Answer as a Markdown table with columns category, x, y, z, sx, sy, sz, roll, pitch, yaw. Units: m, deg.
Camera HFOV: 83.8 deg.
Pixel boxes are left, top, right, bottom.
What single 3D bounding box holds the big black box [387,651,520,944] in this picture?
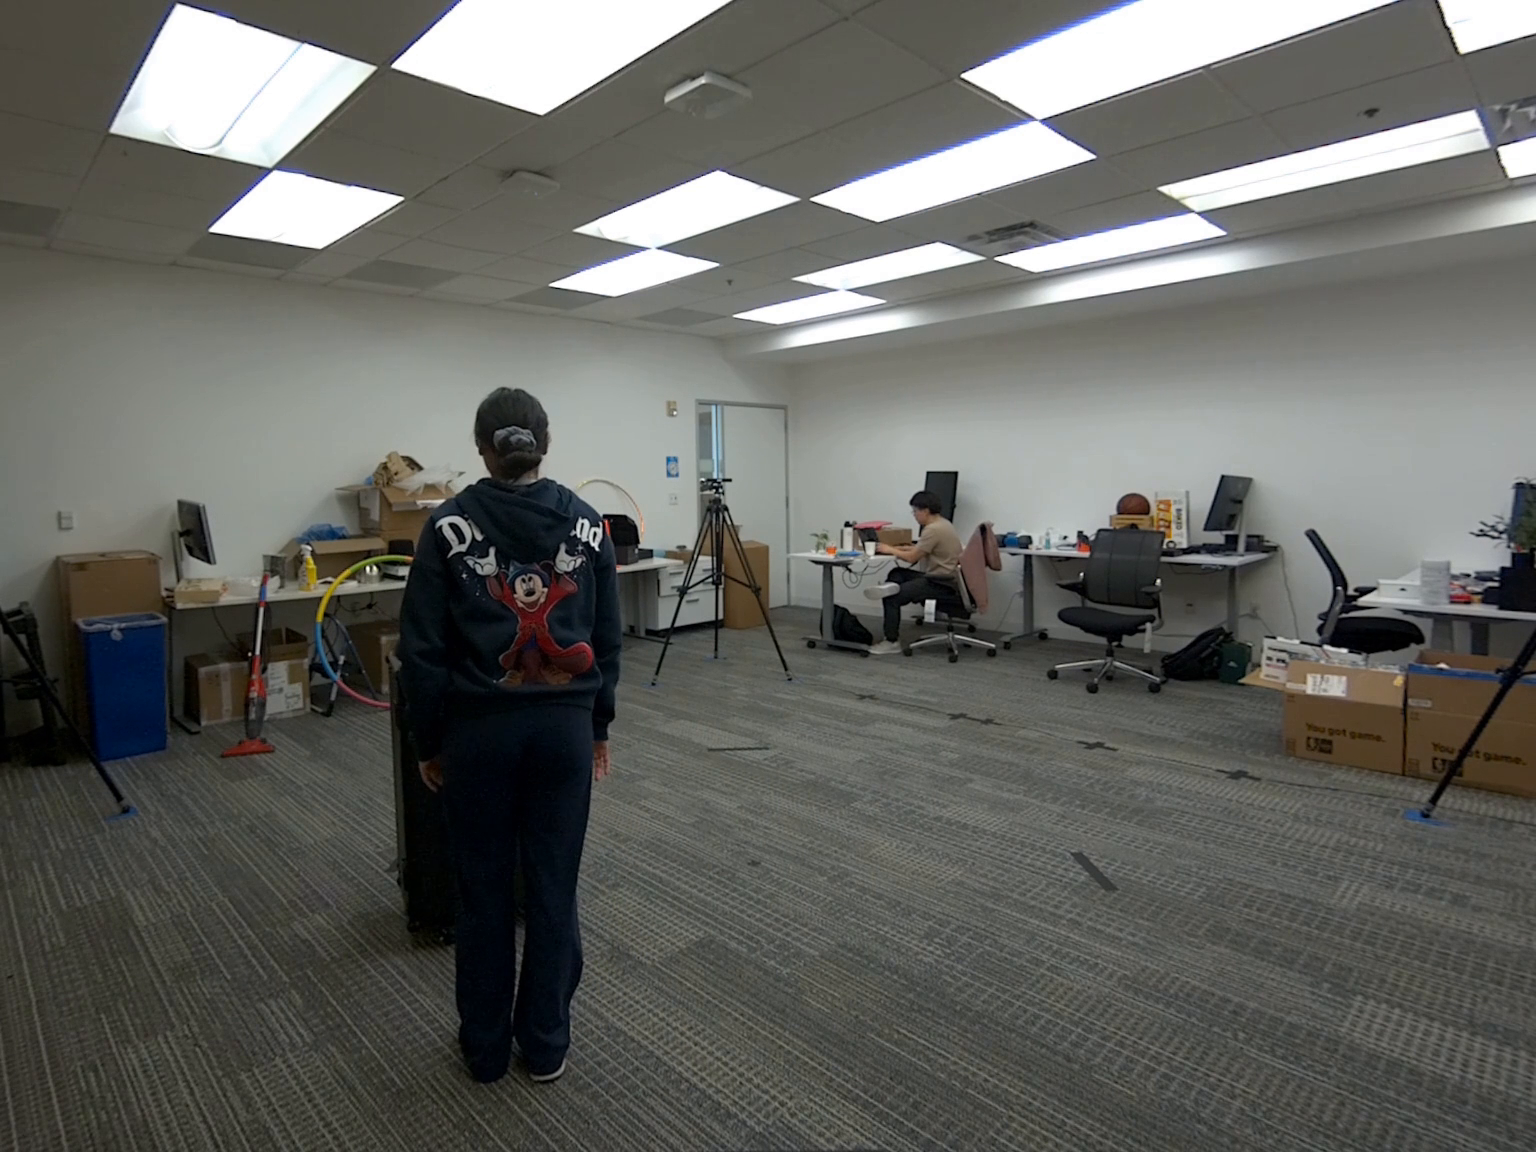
| category | x | y | z | sx | sy | sz | roll | pitch | yaw |
| --- | --- | --- | --- | --- | --- | --- | --- | --- | --- |
| big black box | -0.959 | 0.677 | 2.788 | 0.510 | 0.859 | 0.406 | -3 | 3 | -27 |
